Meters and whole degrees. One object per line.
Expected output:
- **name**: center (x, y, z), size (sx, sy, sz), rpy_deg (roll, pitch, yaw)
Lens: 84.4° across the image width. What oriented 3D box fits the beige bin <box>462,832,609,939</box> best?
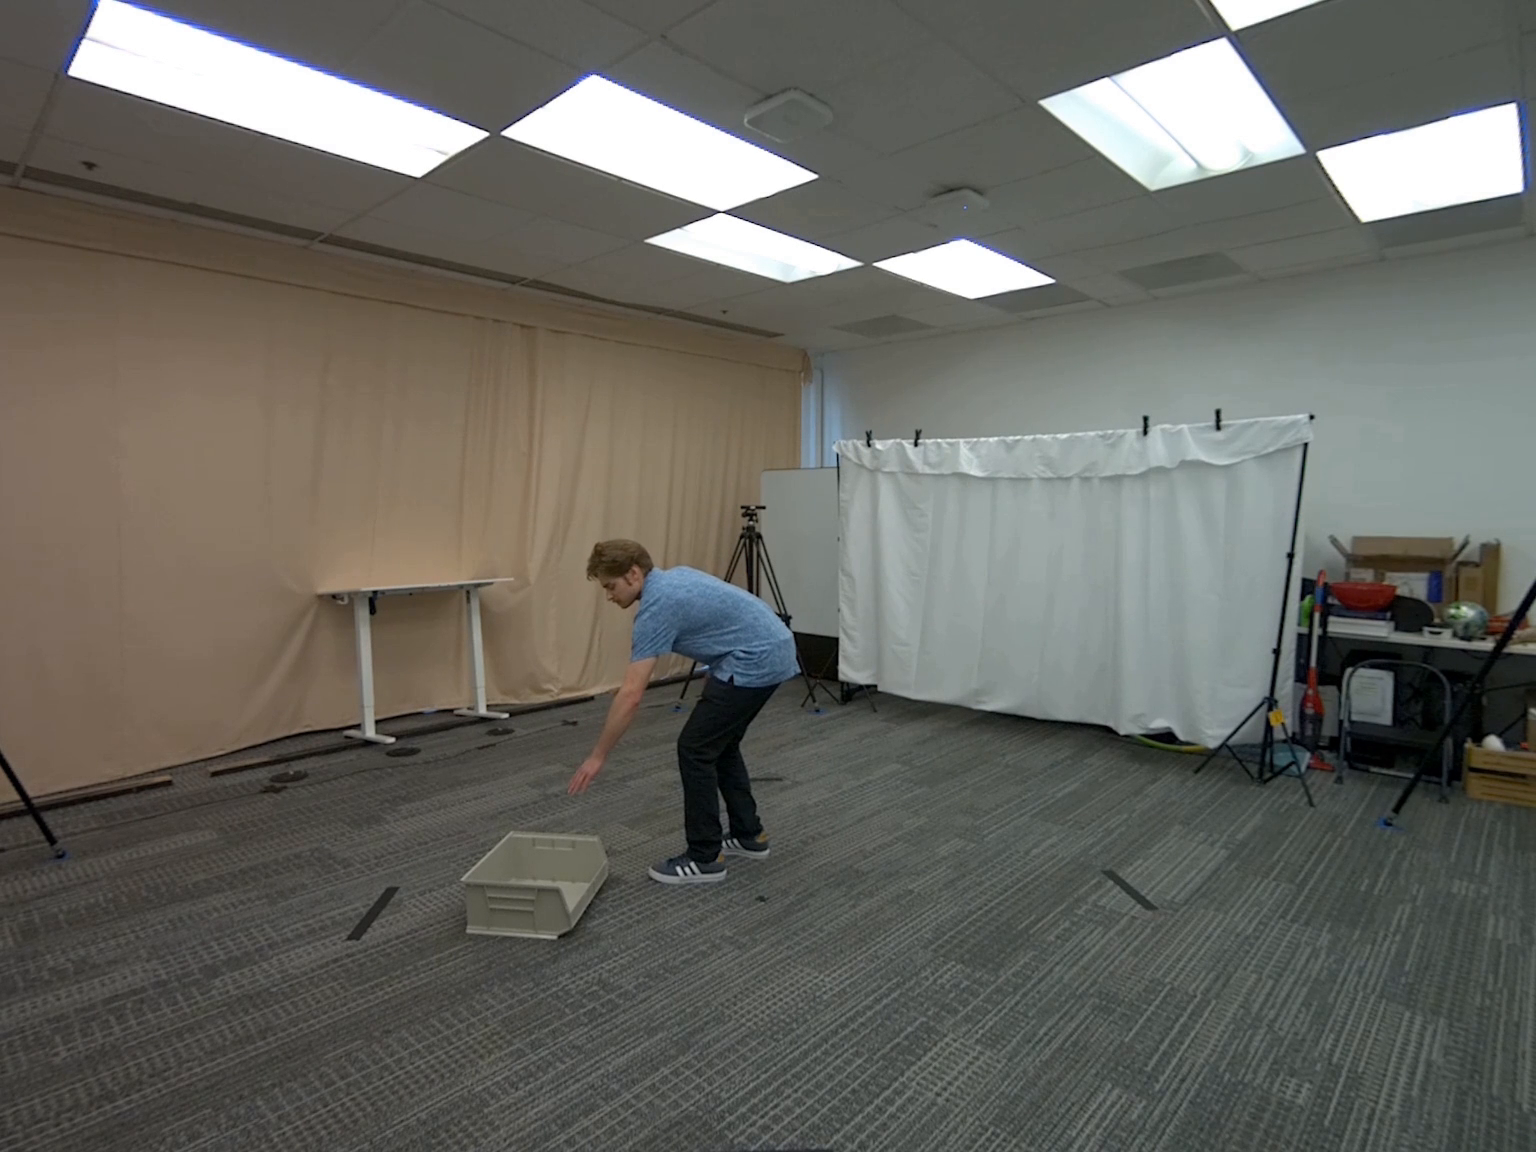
- **beige bin**: center (-0.800, 1.068, 2.927), size (0.381, 0.188, 0.420), rpy_deg (0, 5, 7)
